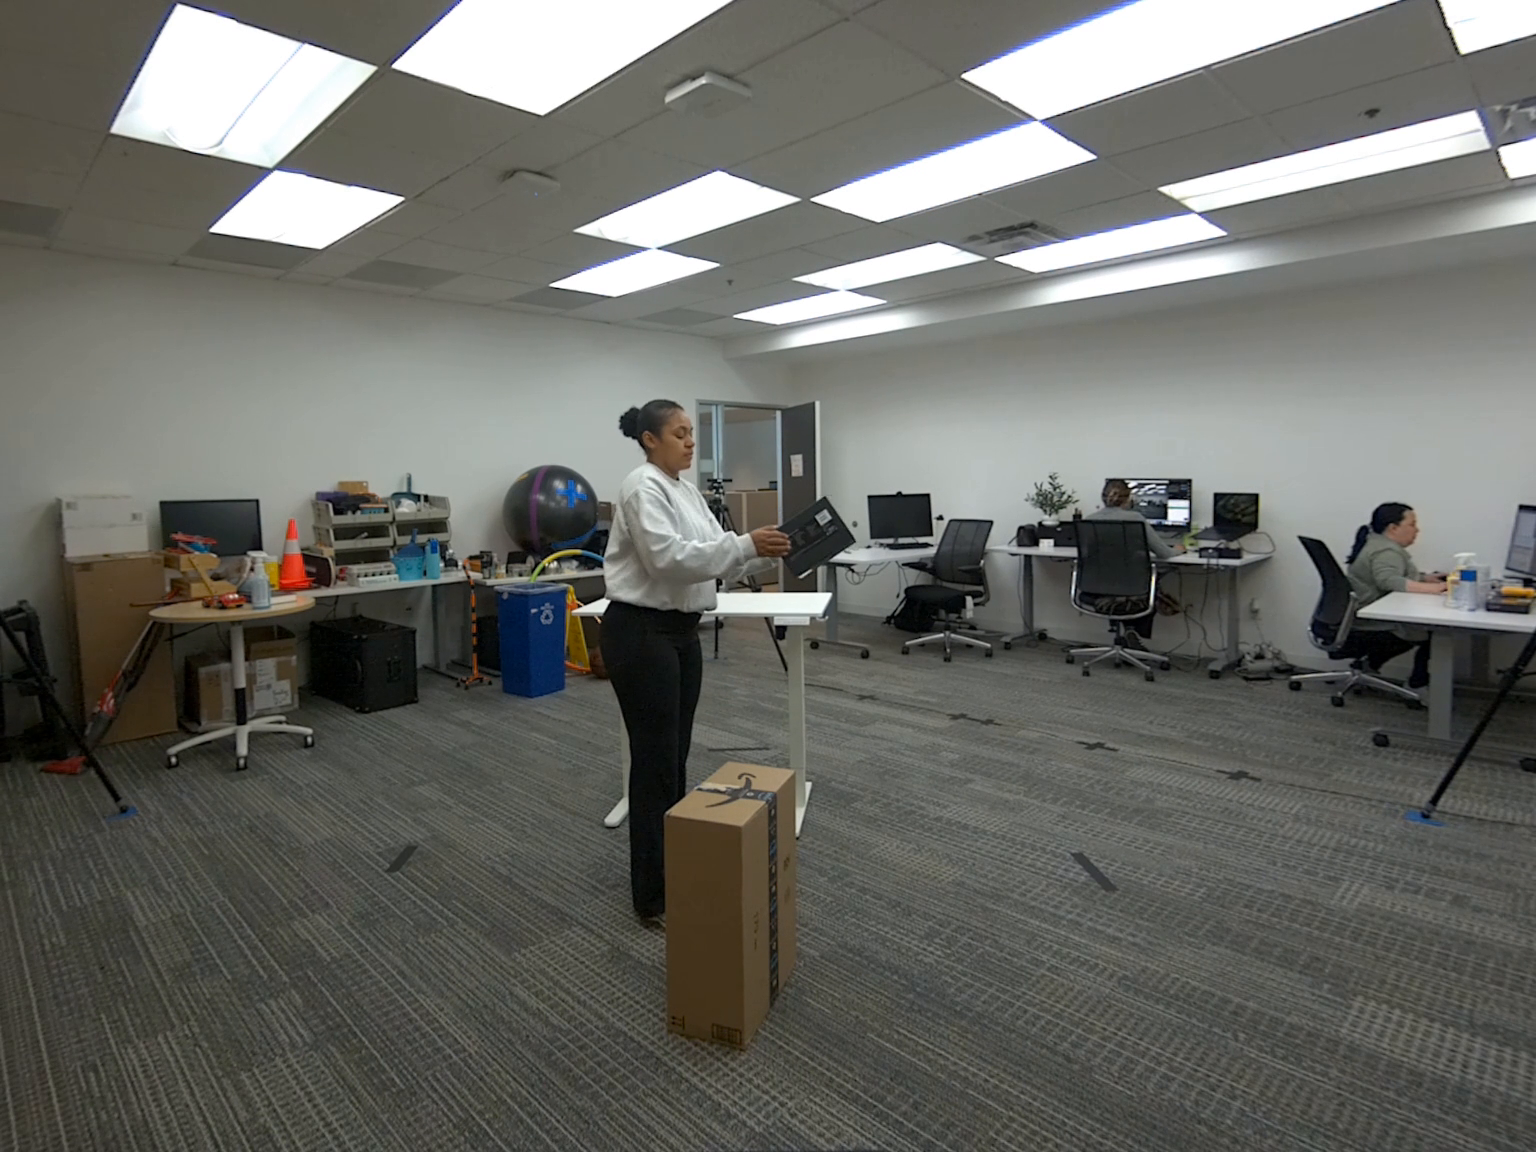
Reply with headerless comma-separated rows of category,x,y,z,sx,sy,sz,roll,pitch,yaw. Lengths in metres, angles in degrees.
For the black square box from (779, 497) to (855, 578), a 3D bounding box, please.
black square box,0.134,-0.117,2.671,0.217,0.157,0.226,-34,-3,5
